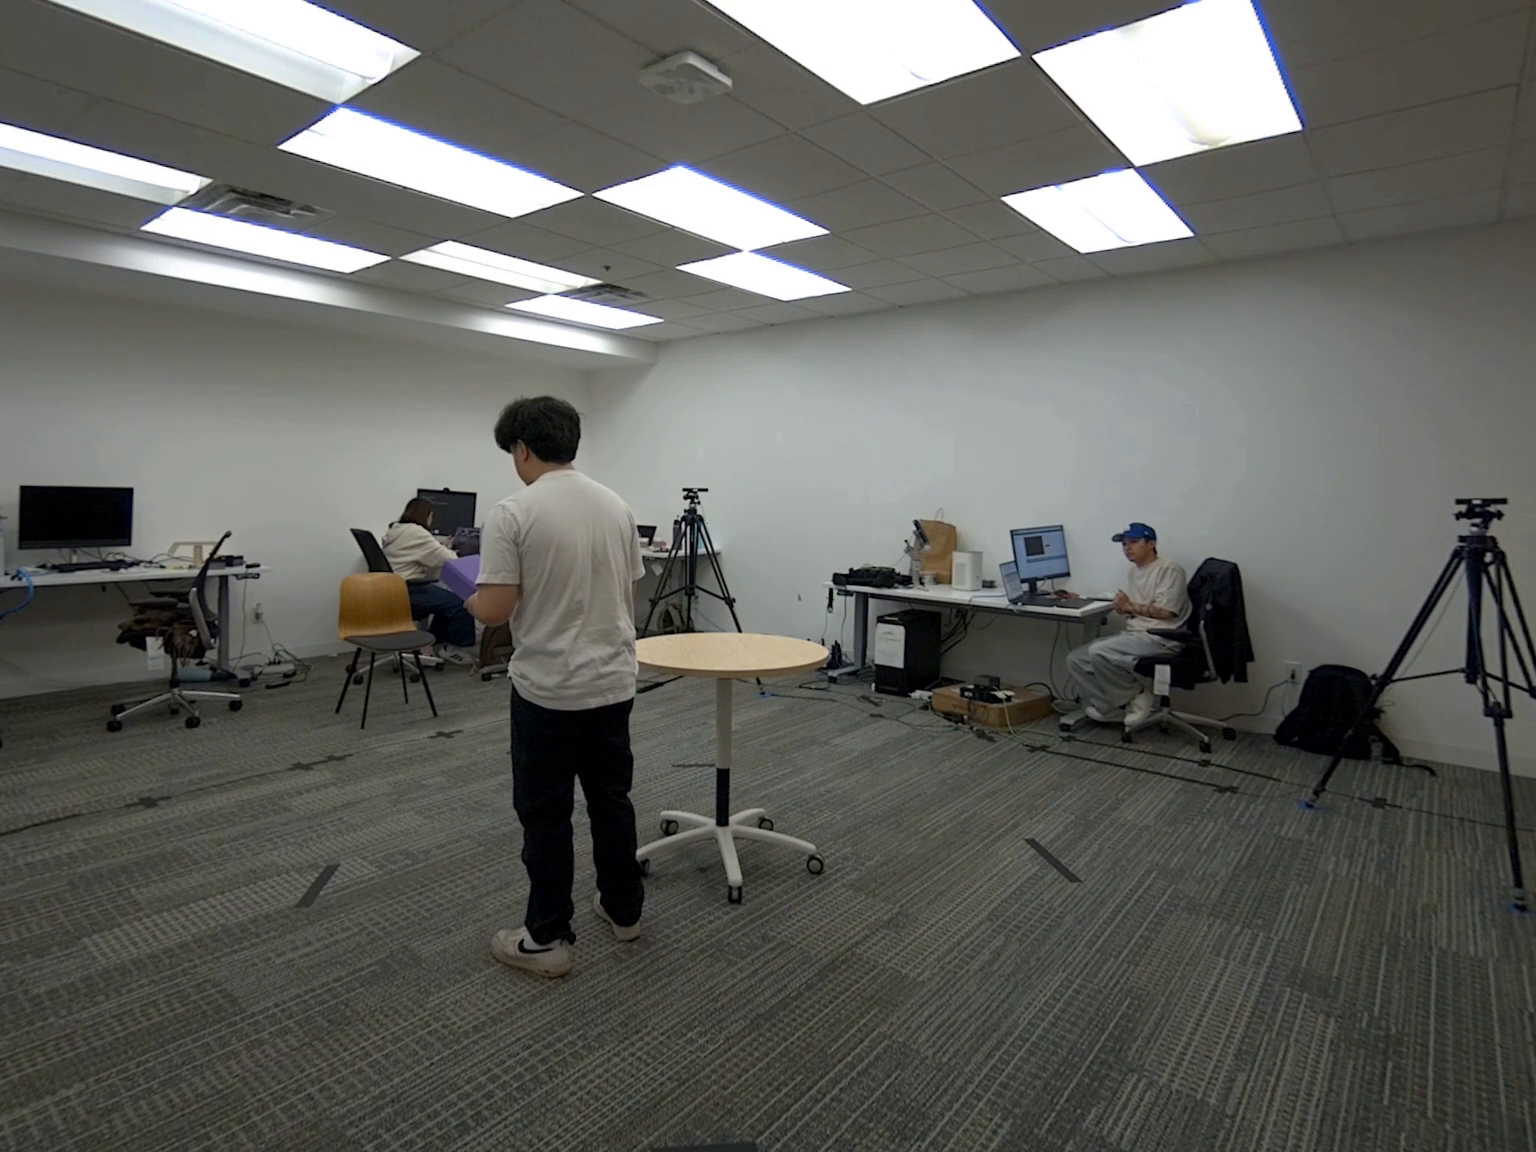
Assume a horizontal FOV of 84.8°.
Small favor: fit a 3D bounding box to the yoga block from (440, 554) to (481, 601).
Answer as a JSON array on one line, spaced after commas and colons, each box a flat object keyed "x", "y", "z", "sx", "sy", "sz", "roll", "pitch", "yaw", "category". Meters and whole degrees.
[{"x": -0.925, "y": 0.024, "z": 2.724, "sx": 0.237, "sy": 0.075, "sz": 0.145, "roll": 33, "pitch": 26, "yaw": 25, "category": "yoga block"}]
